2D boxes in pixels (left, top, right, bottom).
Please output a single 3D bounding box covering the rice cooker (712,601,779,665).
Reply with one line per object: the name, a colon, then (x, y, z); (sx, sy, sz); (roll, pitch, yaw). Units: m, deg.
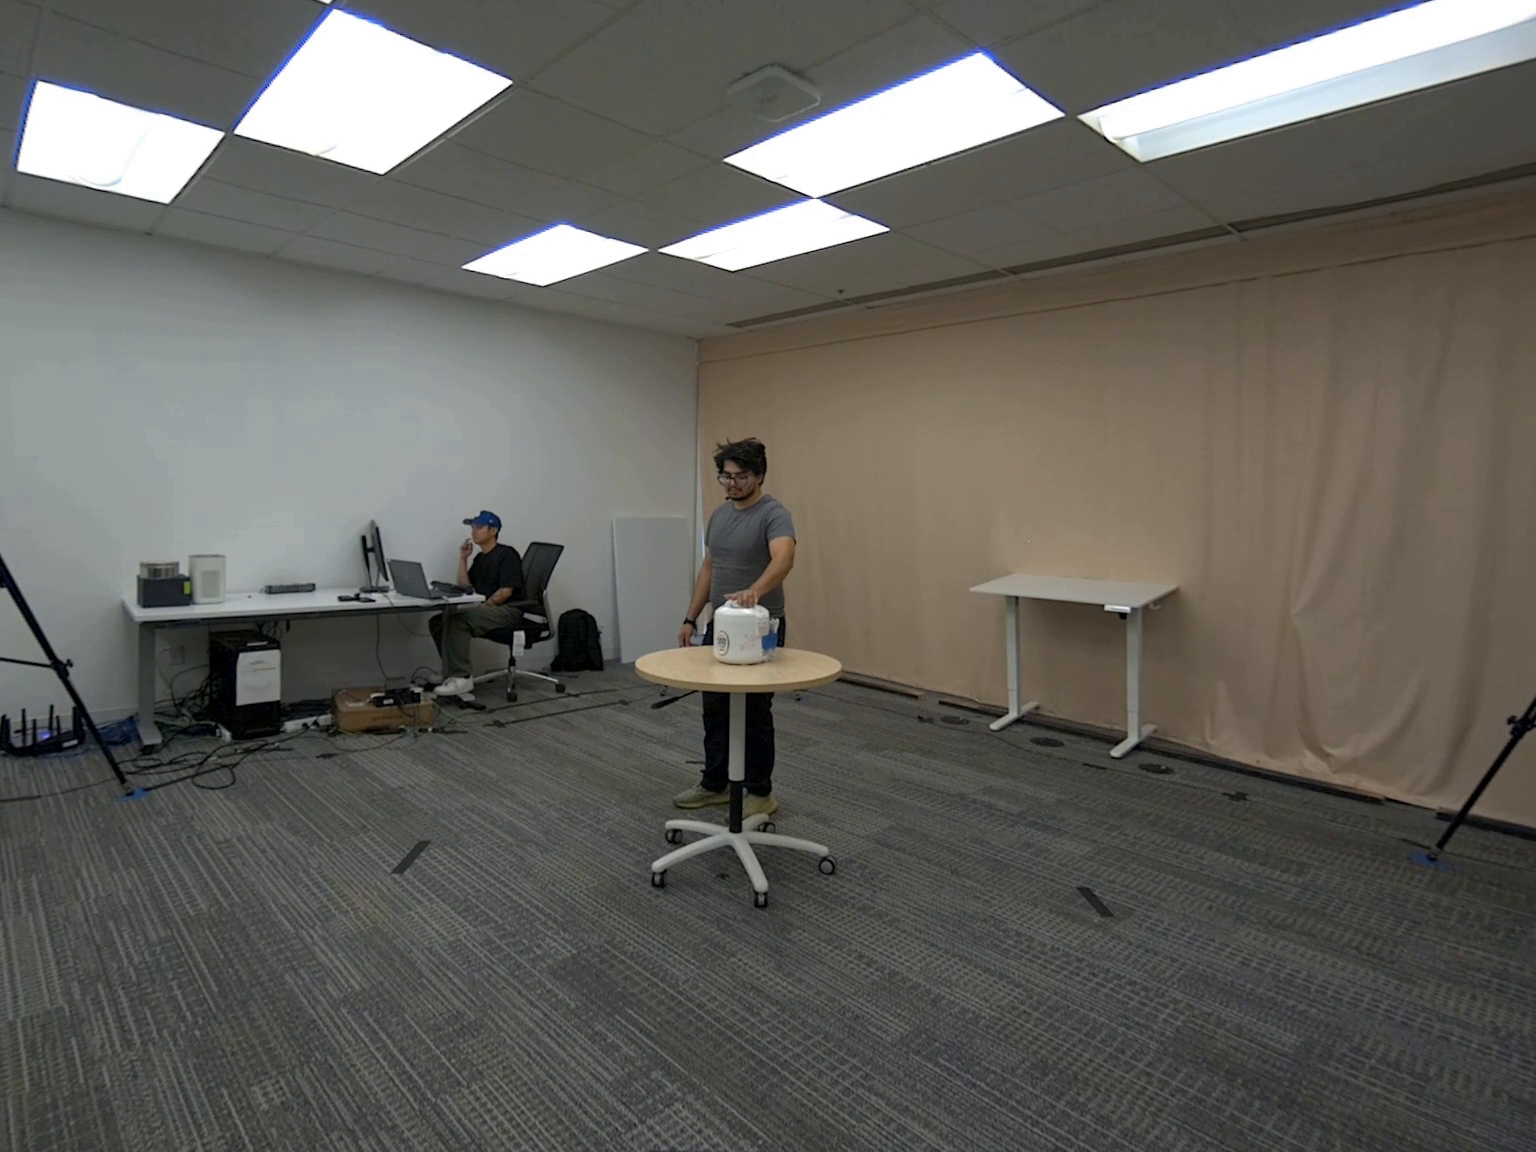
rice cooker: (-0.106, 0.206, 3.160); (0.226, 0.232, 0.212); (4, 4, 41)
